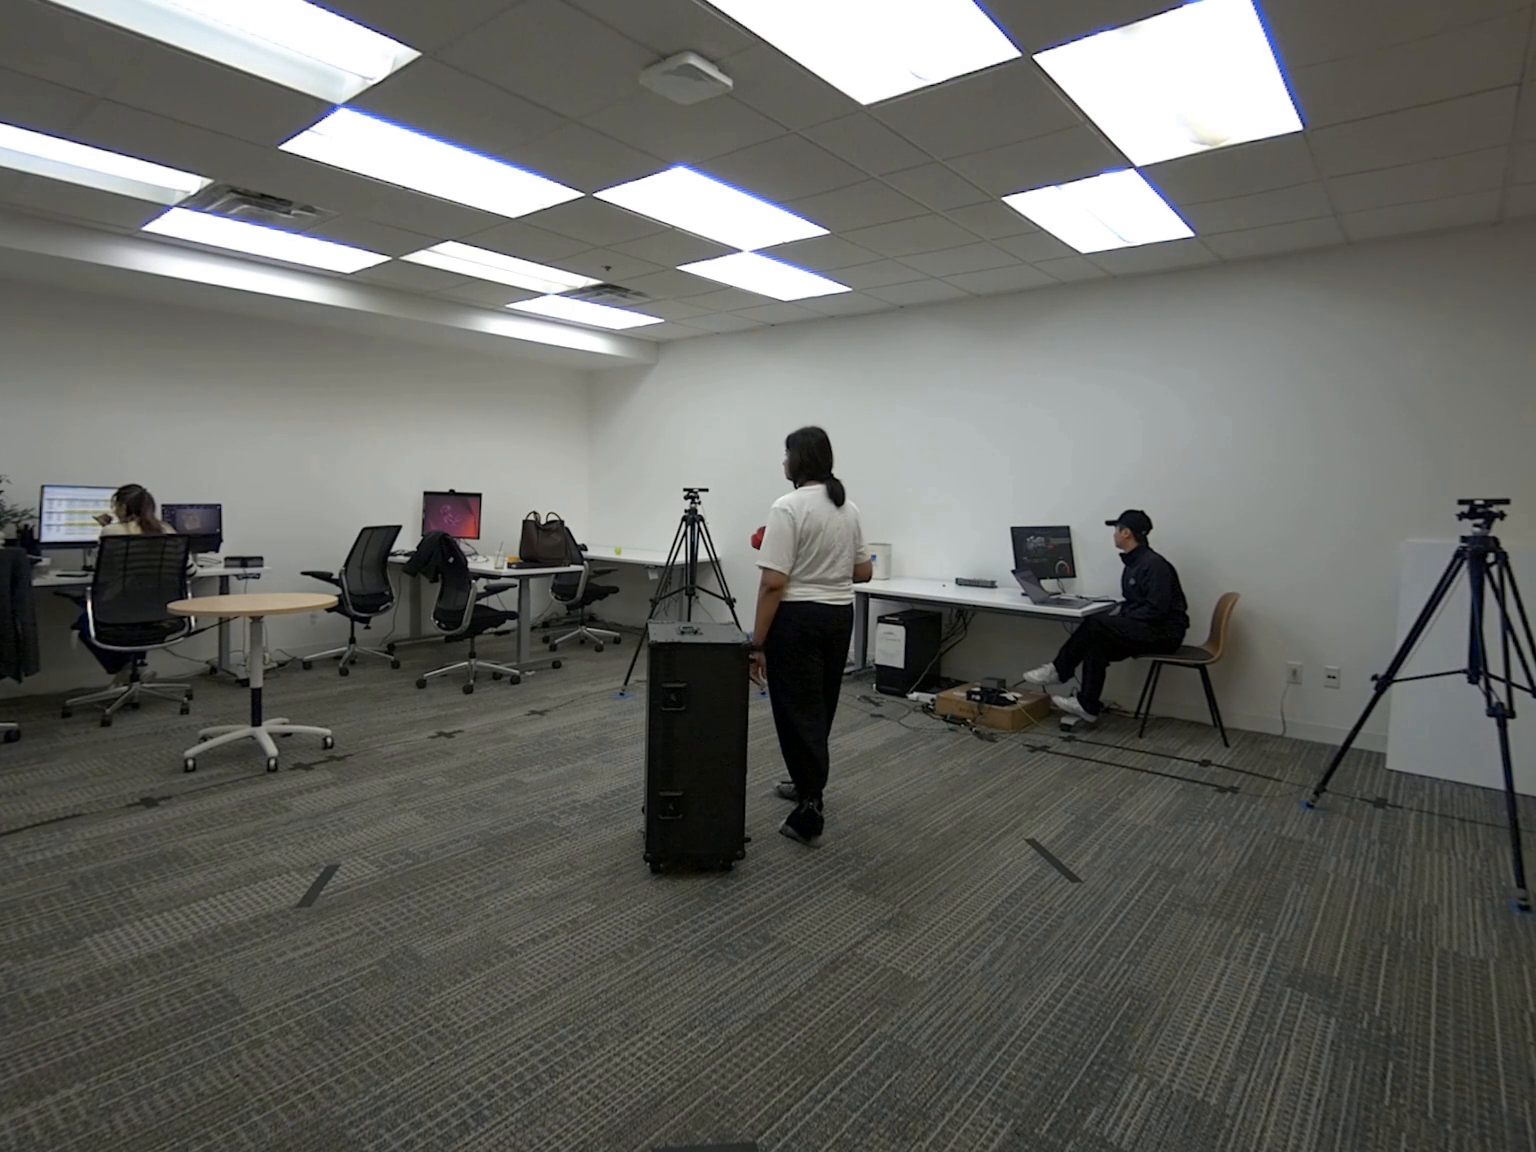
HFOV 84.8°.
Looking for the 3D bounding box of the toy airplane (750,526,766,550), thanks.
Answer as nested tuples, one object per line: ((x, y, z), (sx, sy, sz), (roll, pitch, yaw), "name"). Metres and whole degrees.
((0.080, -0.129, 3.702), (0.247, 0.267, 0.154), (-22, -25, -33), "toy airplane")
